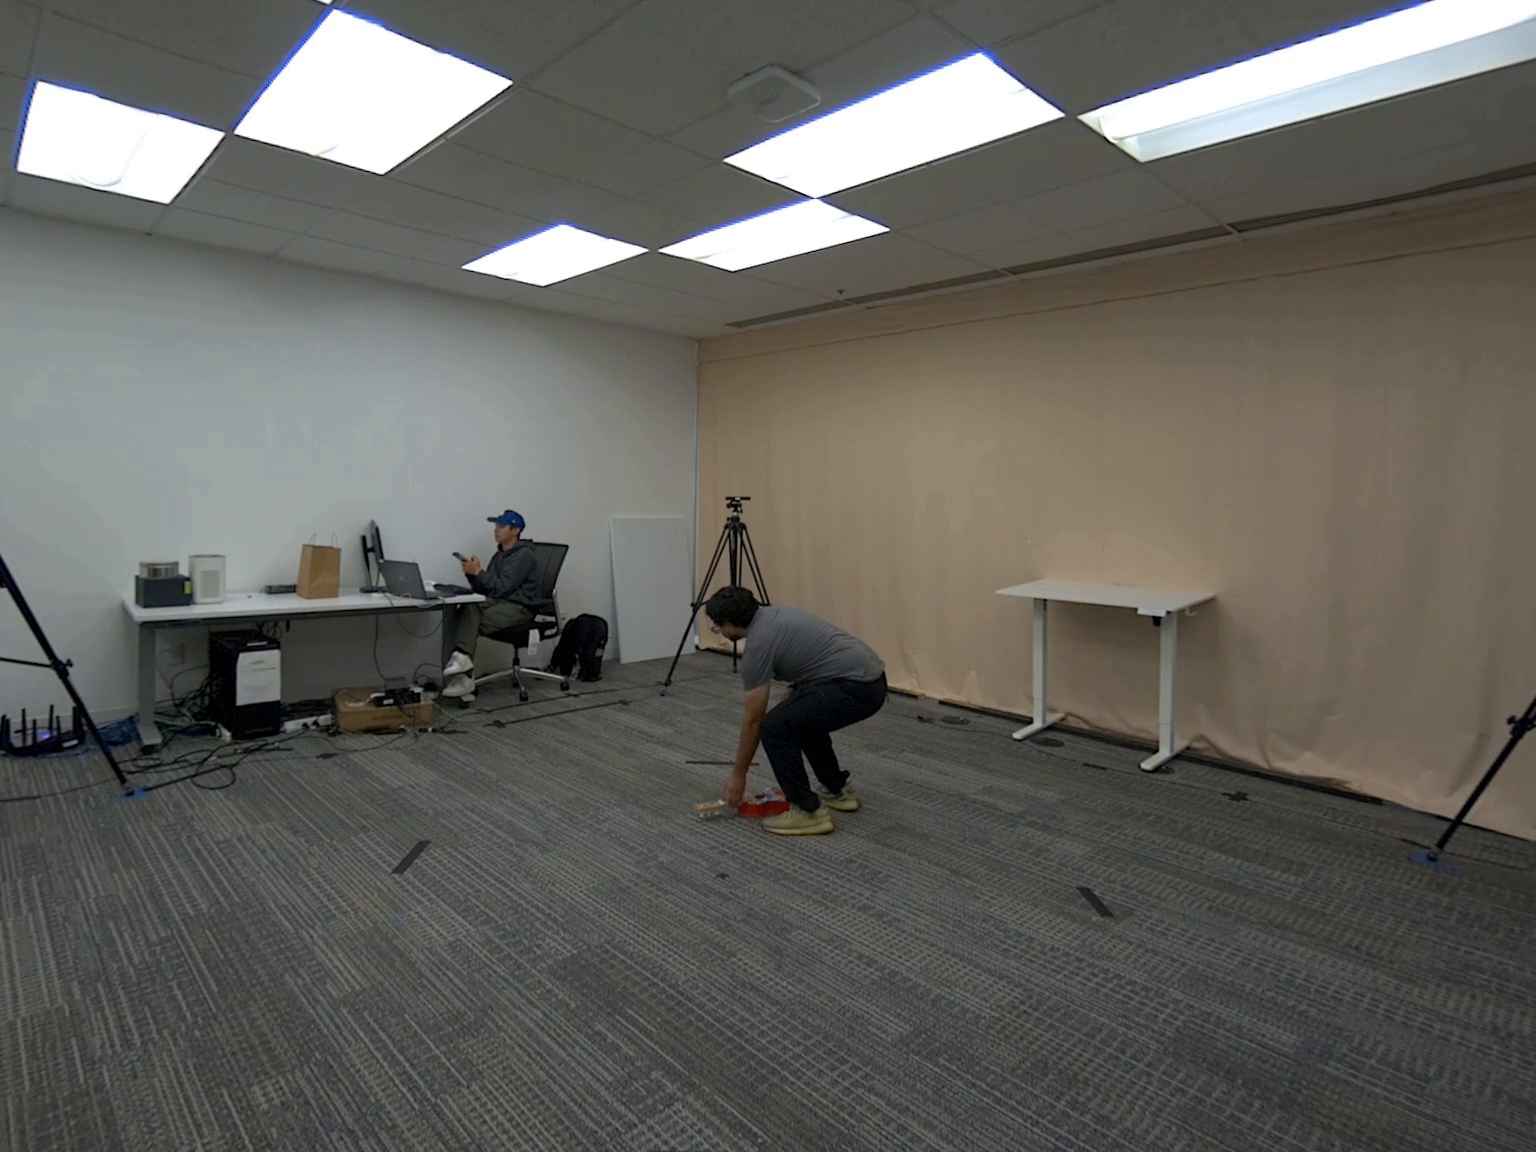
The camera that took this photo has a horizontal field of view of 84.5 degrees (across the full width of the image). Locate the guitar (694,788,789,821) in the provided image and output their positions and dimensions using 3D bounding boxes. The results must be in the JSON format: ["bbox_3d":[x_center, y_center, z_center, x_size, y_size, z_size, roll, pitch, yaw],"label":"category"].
[{"bbox_3d":[-0.121,1.018,3.772,0.490,0.070,0.196,-1,6,-21],"label":"guitar"}]
